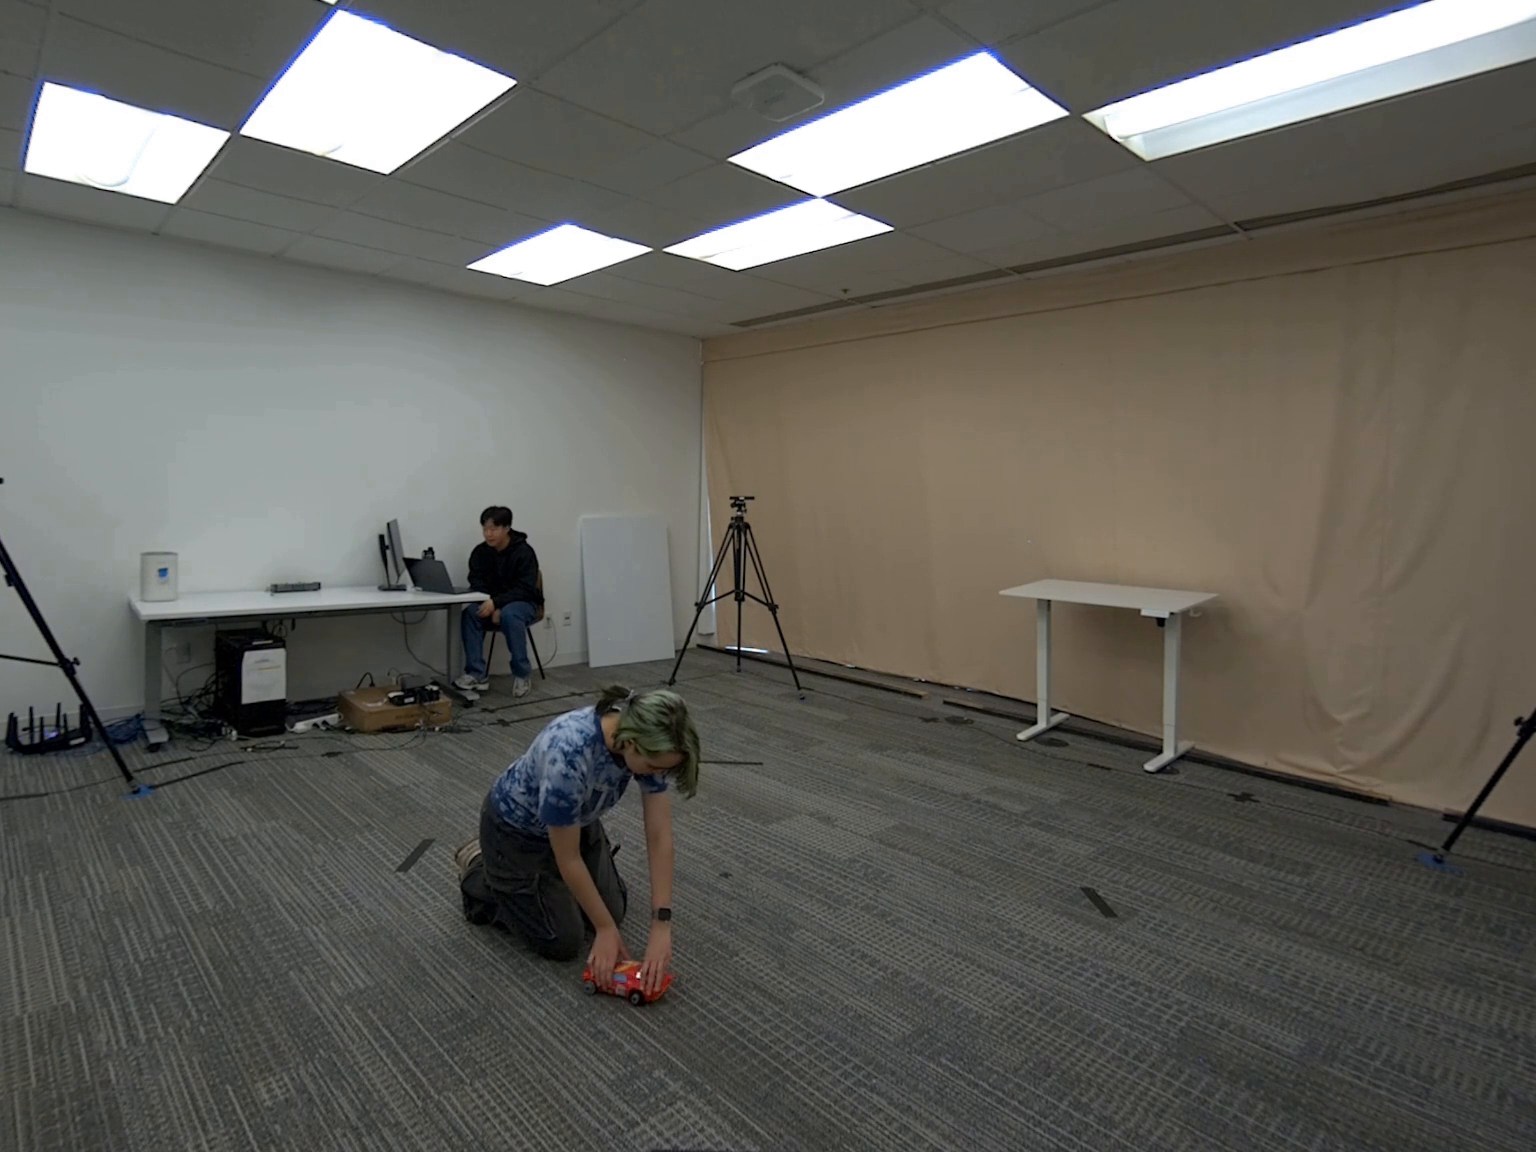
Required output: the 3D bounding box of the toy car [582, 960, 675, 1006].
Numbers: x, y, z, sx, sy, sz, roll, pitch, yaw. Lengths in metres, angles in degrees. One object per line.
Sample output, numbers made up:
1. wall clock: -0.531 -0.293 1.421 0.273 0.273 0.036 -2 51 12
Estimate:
1. toy car: -0.394 1.141 2.345 0.258 0.083 0.129 -10 2 20
